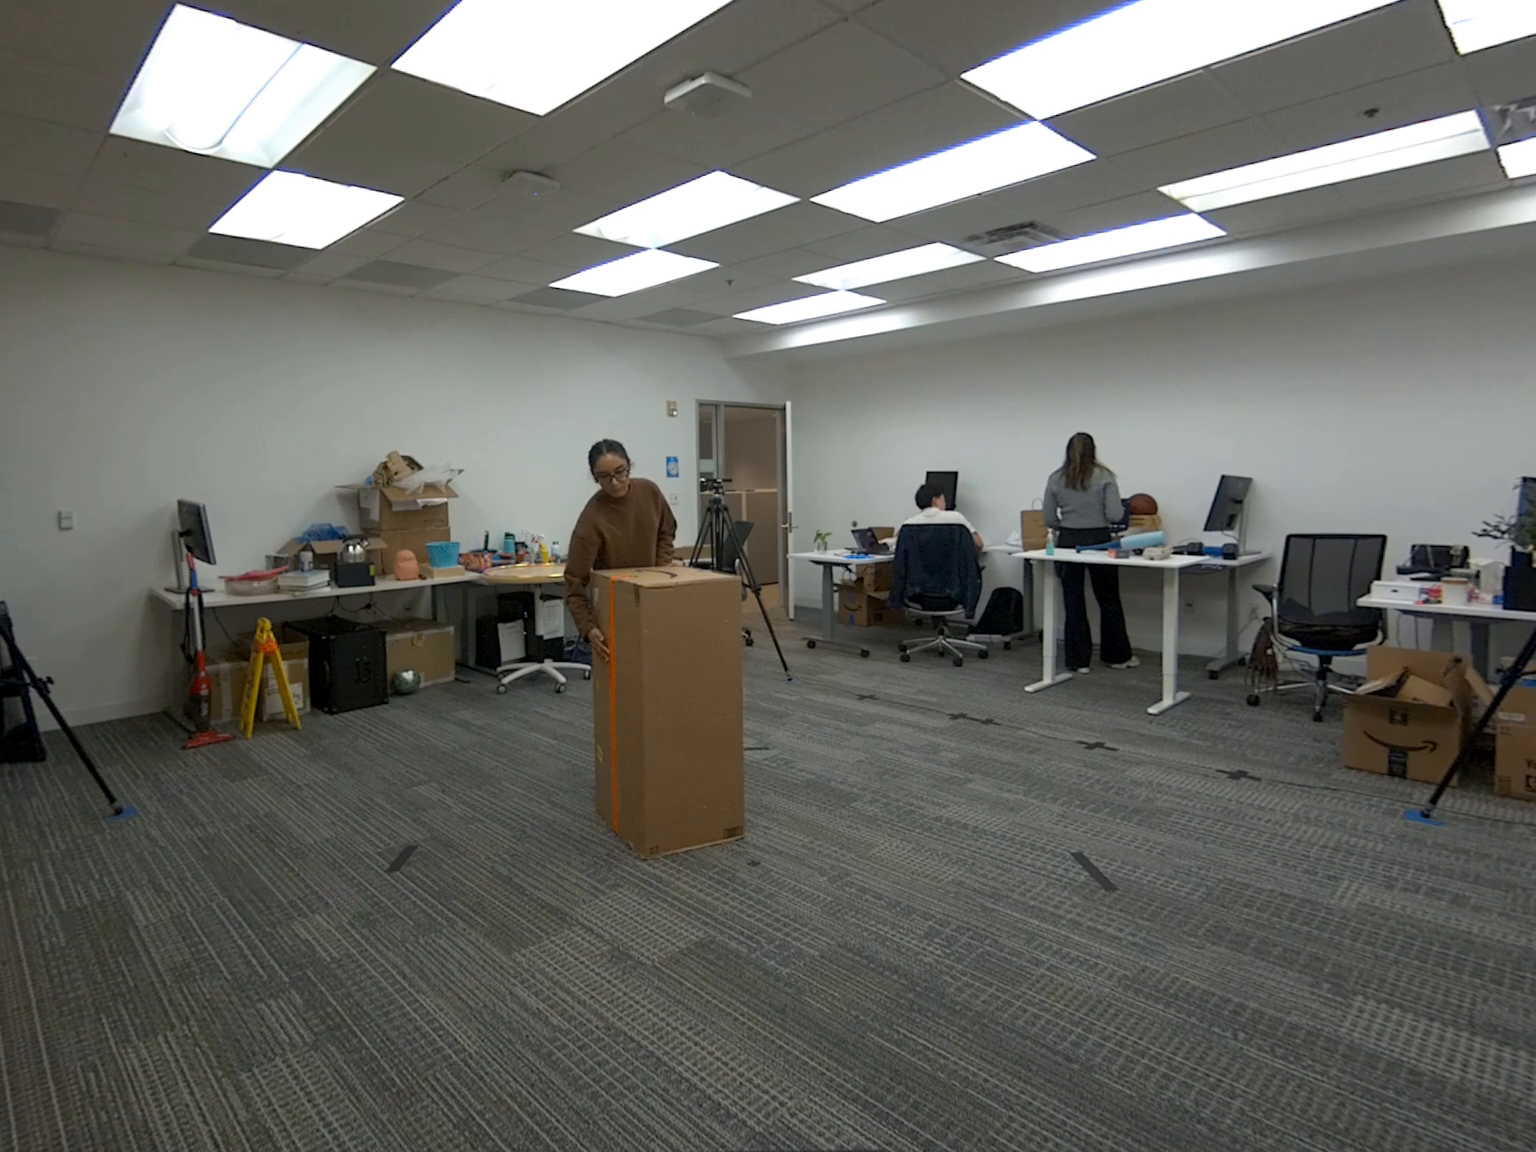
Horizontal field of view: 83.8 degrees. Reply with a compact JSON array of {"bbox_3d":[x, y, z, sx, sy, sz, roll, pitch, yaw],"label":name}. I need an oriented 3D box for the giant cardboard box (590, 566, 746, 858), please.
[{"bbox_3d":[-0.411,0.504,3.452,0.416,1.022,0.593,-3,5,-29],"label":"giant cardboard box"}]
